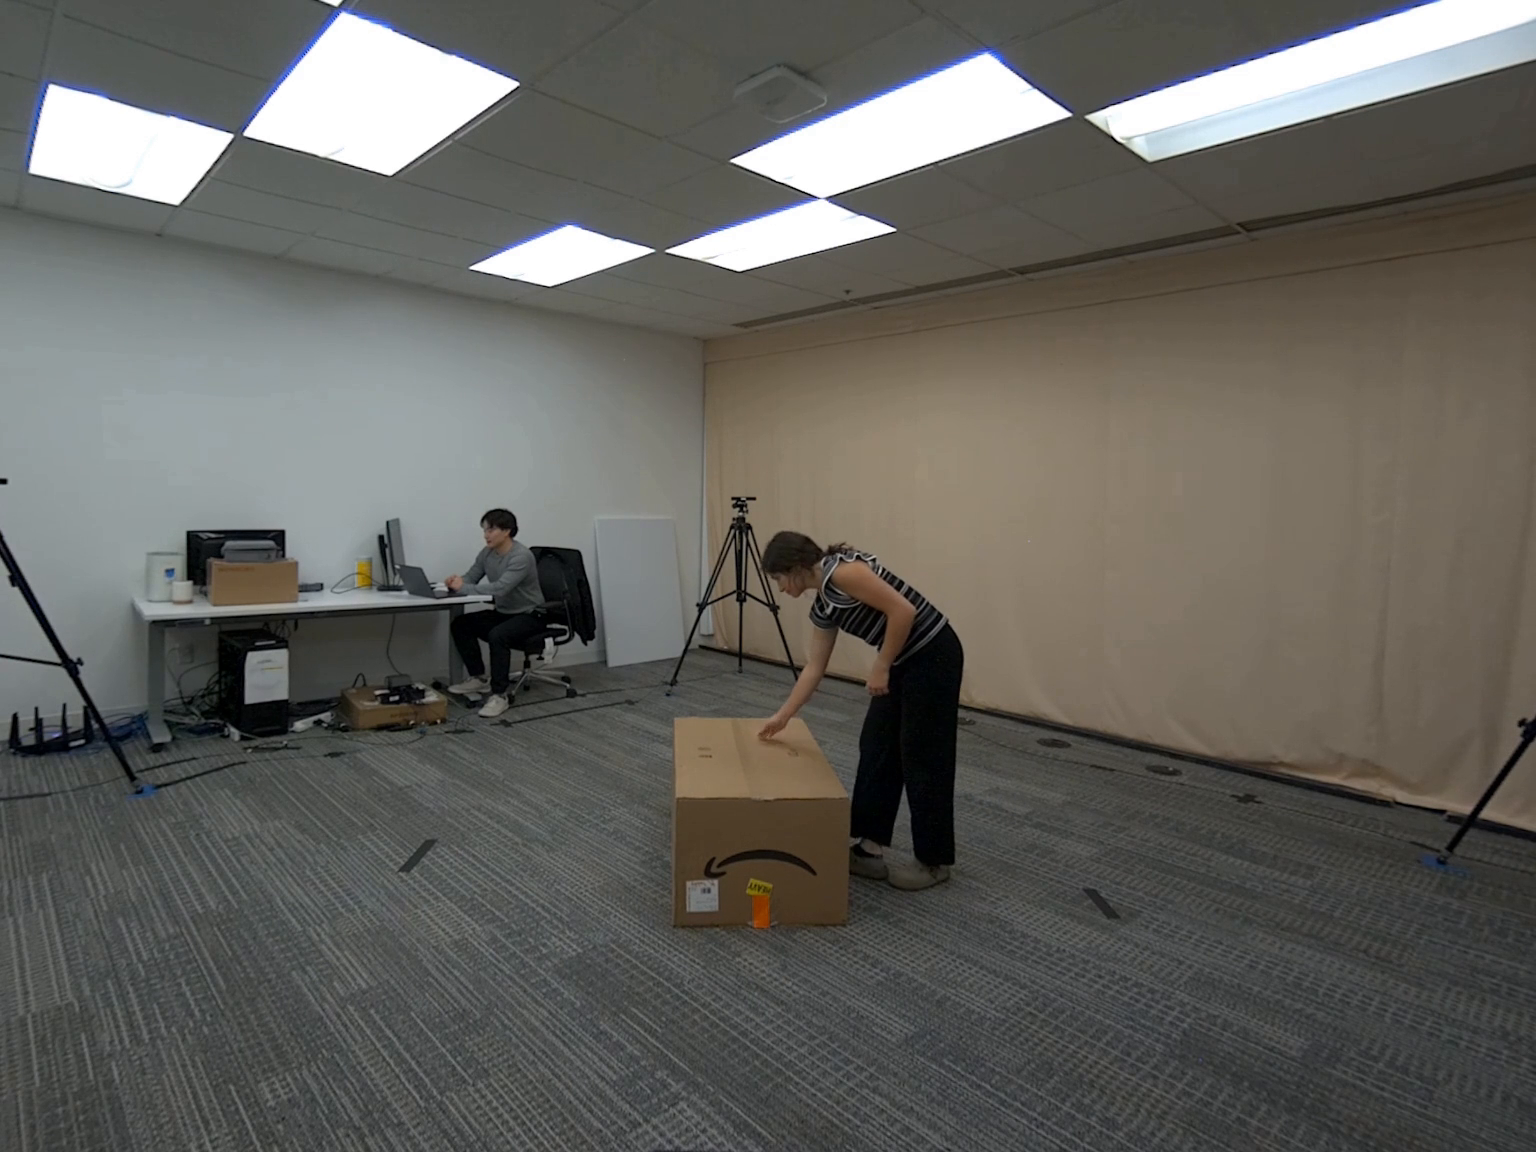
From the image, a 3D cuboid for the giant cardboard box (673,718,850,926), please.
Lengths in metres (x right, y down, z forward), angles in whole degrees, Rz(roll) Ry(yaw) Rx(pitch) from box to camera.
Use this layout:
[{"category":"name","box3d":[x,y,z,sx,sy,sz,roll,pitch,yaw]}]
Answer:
[{"category":"giant cardboard box","box3d":[-0.084,0.885,3.233,0.575,0.425,1.033,1,5,-6]}]
